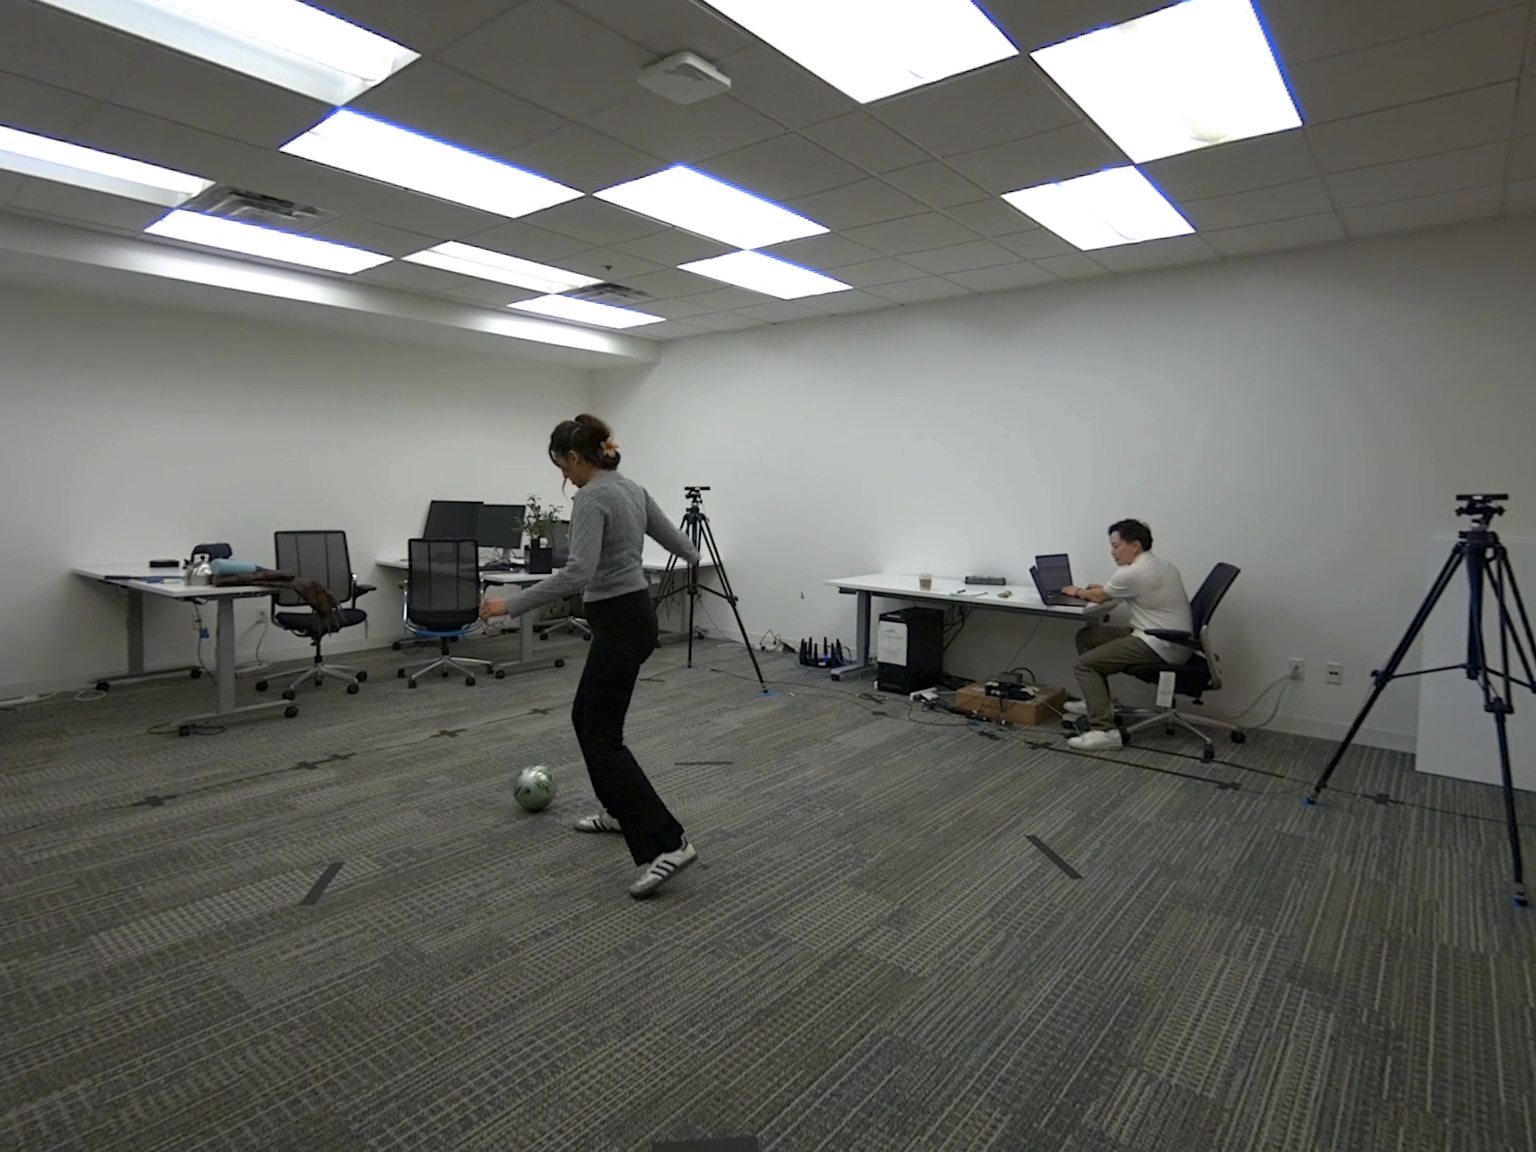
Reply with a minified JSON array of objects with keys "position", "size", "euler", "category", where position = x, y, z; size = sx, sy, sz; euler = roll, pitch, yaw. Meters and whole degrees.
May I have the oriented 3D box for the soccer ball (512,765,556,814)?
[{"position":[-1.013,0.910,3.655],"size":[0.187,0.187,0.188],"euler":[1,4,-2],"category":"soccer ball"}]
